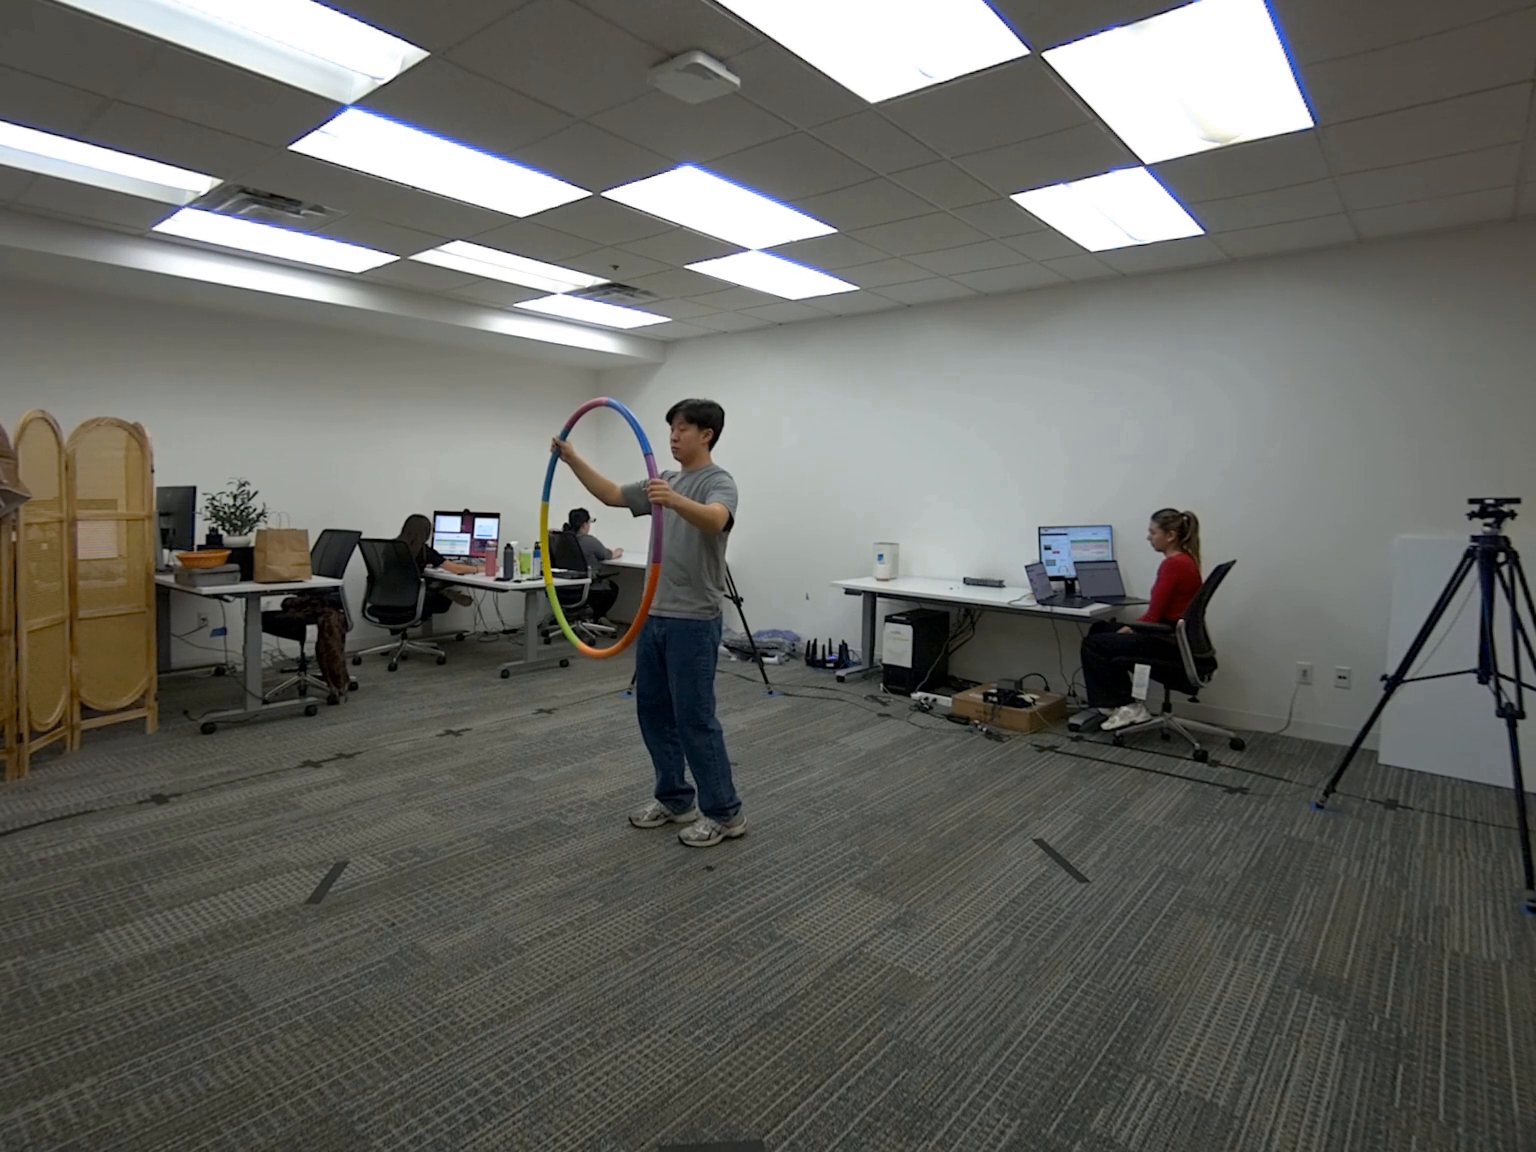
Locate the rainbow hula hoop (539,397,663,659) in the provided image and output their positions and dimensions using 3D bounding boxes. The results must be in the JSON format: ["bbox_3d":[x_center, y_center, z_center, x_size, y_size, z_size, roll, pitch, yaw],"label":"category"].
[{"bbox_3d":[-0.668,-0.190,3.252,0.034,0.977,1.011,1,3,-36],"label":"rainbow hula hoop"}]
